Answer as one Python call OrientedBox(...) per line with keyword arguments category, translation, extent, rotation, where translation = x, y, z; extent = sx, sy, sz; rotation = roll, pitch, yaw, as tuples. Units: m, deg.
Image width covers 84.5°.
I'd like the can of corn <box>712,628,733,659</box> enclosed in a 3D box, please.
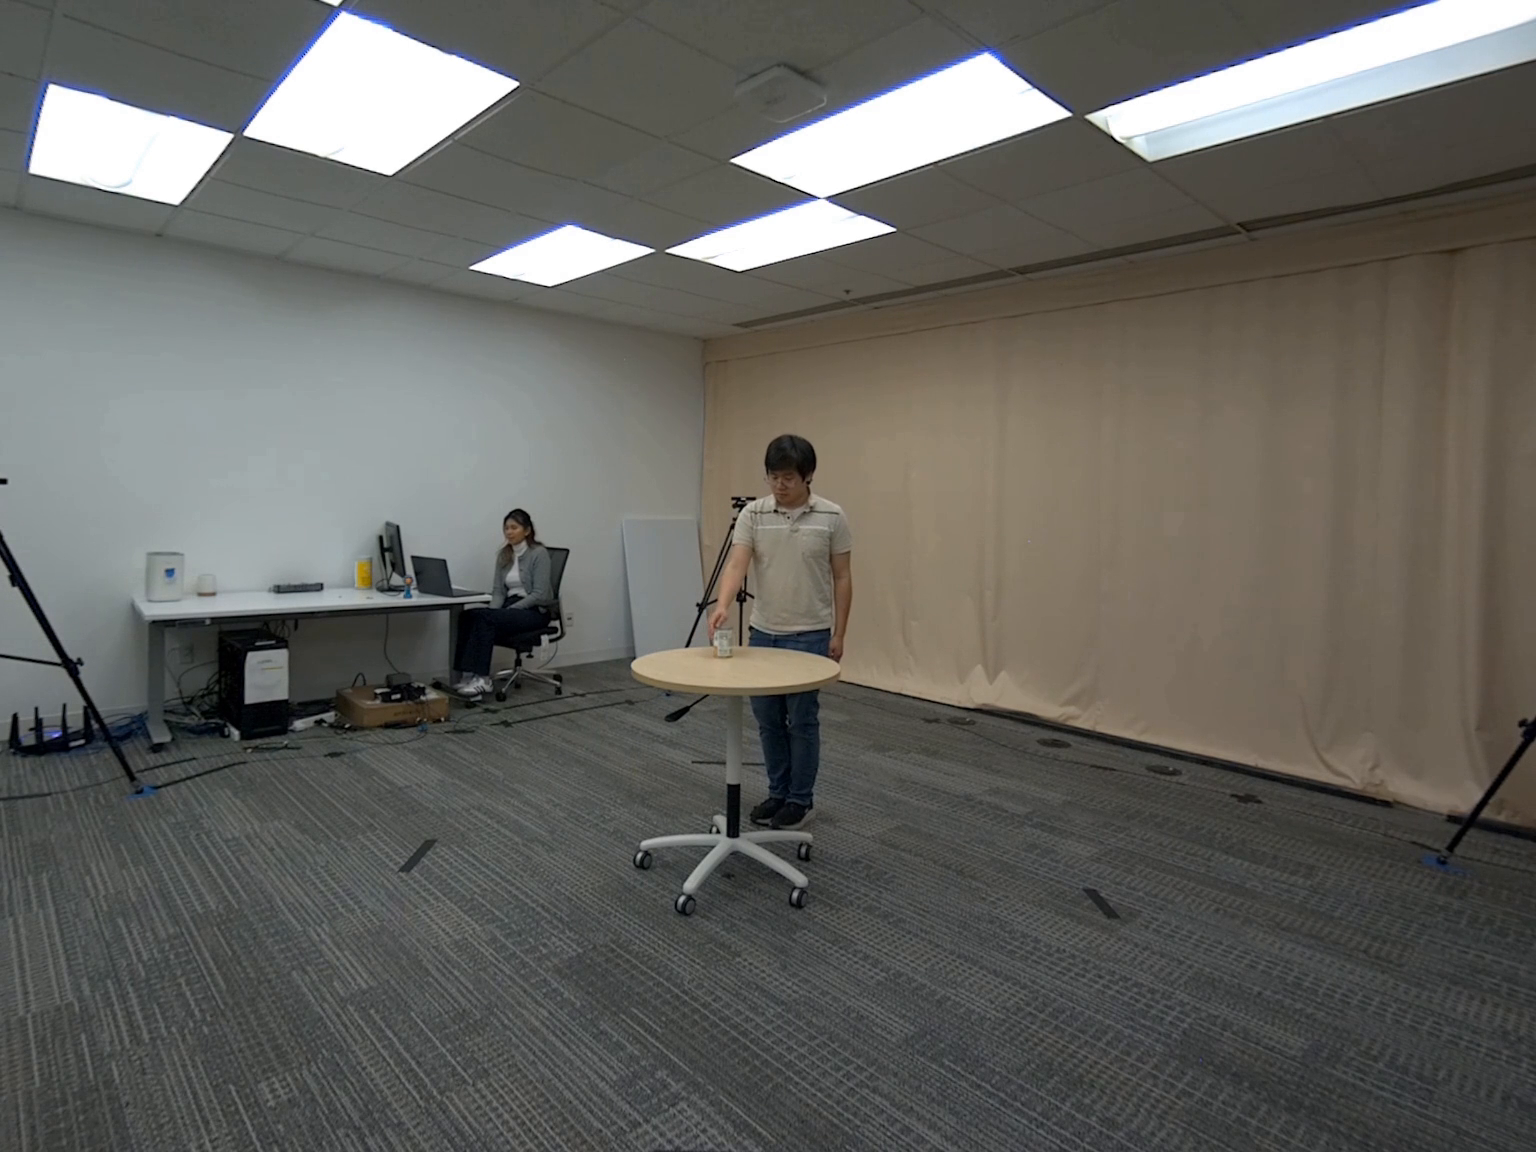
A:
OrientedBox(category="can of corn", translation=(-0.180, 0.257, 3.235), extent=(0.074, 0.111, 0.074), rotation=(-1, 2, -1))
